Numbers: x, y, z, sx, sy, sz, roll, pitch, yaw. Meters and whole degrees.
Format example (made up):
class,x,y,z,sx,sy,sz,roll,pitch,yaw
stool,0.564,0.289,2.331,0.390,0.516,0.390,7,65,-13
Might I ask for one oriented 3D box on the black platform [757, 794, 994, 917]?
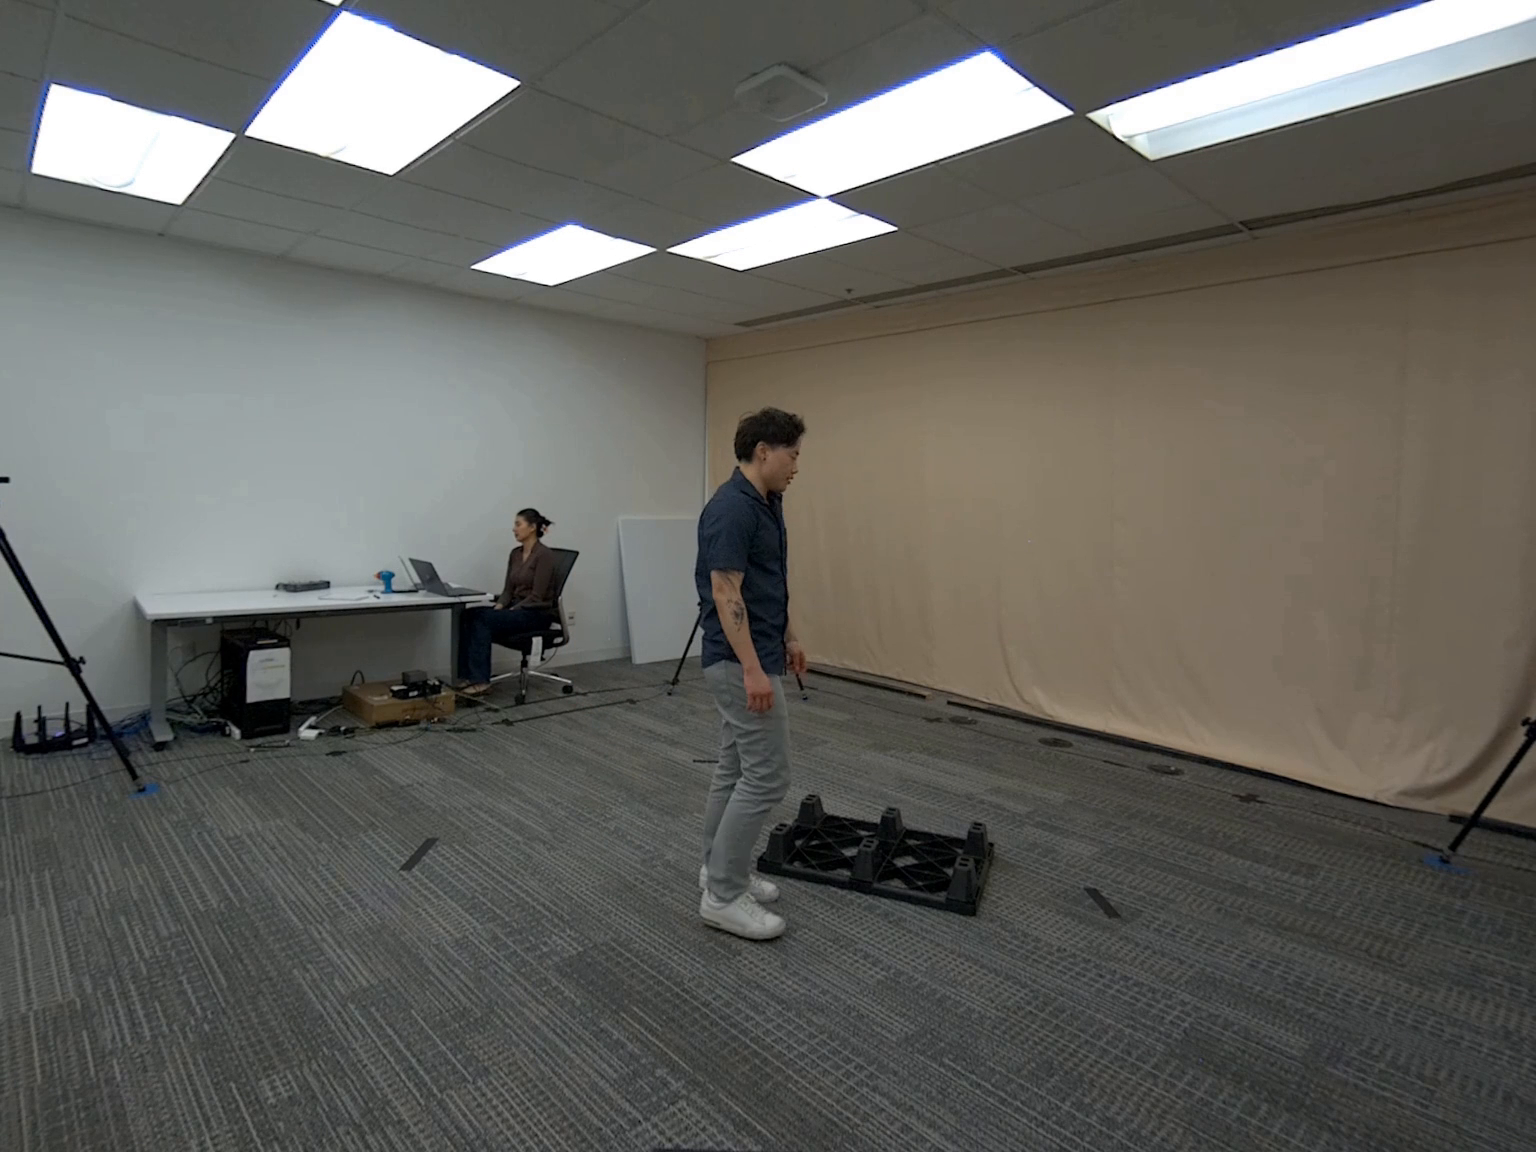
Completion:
class,x,y,z,sx,sy,sz,roll,pitch,yaw
black platform,0.429,1.038,3.258,0.820,0.143,0.596,4,6,22
